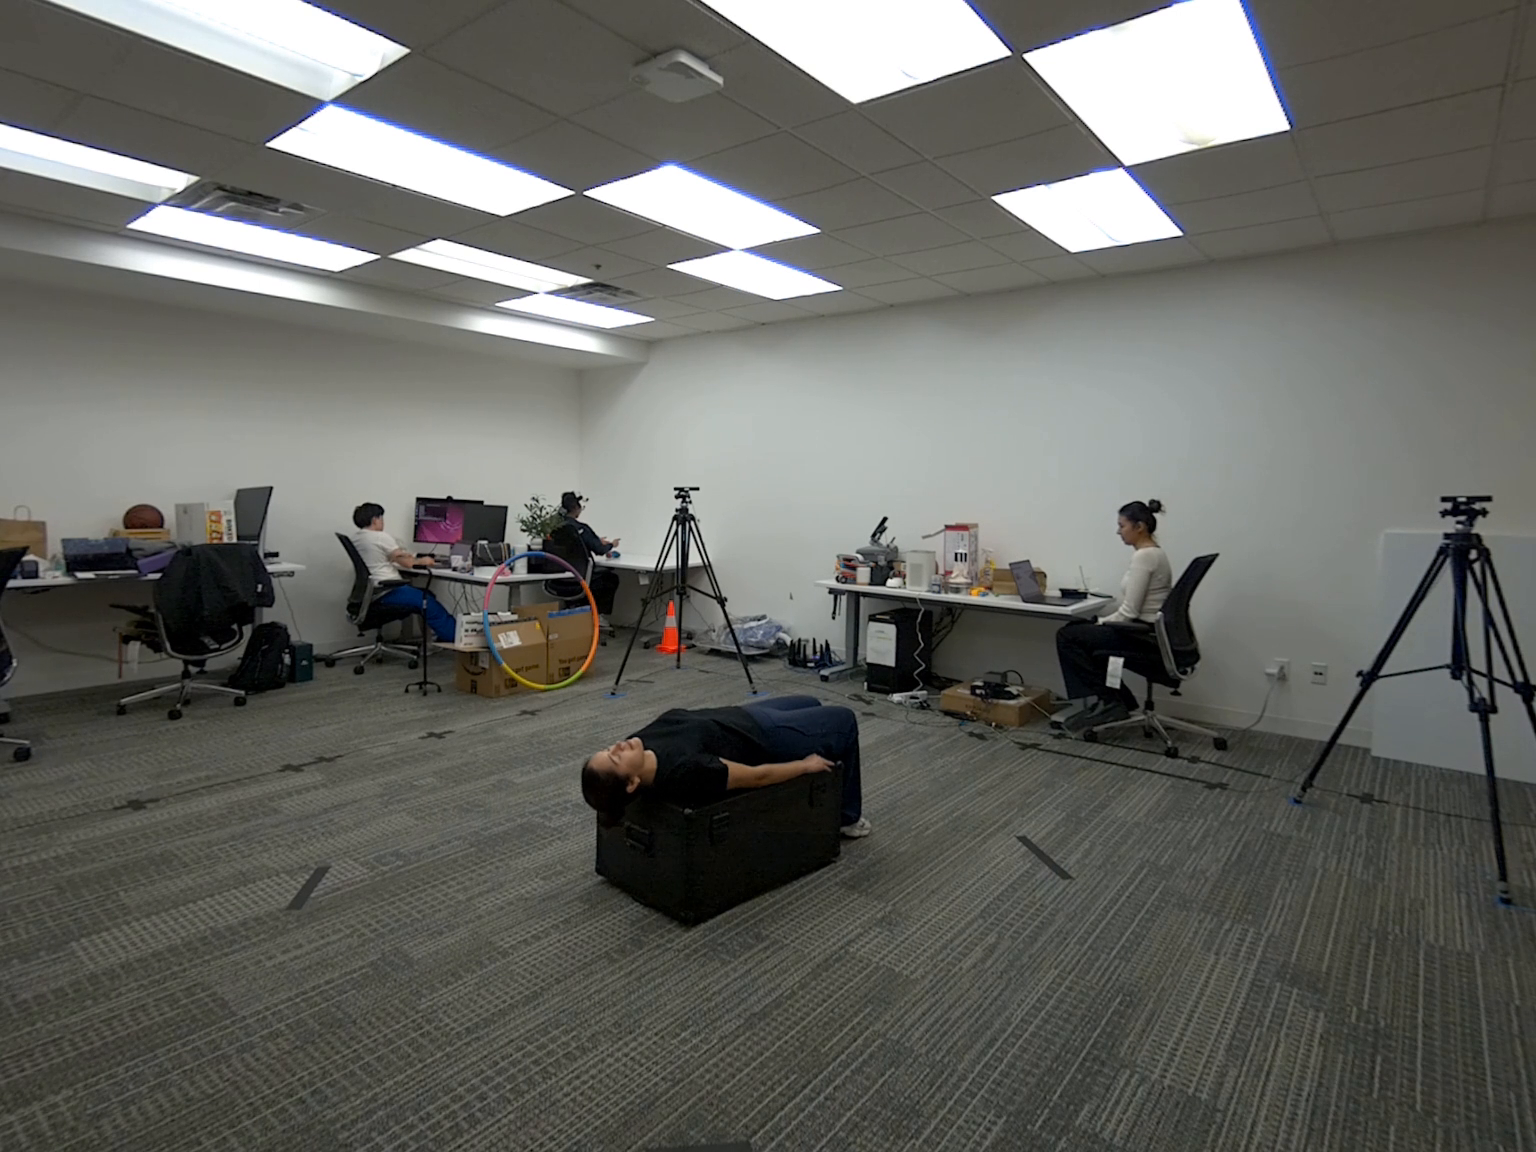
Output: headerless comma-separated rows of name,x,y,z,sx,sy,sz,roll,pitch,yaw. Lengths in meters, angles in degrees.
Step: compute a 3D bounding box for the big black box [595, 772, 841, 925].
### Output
big black box,-0.175,0.891,3.083,0.834,0.395,0.539,-2,5,-45
